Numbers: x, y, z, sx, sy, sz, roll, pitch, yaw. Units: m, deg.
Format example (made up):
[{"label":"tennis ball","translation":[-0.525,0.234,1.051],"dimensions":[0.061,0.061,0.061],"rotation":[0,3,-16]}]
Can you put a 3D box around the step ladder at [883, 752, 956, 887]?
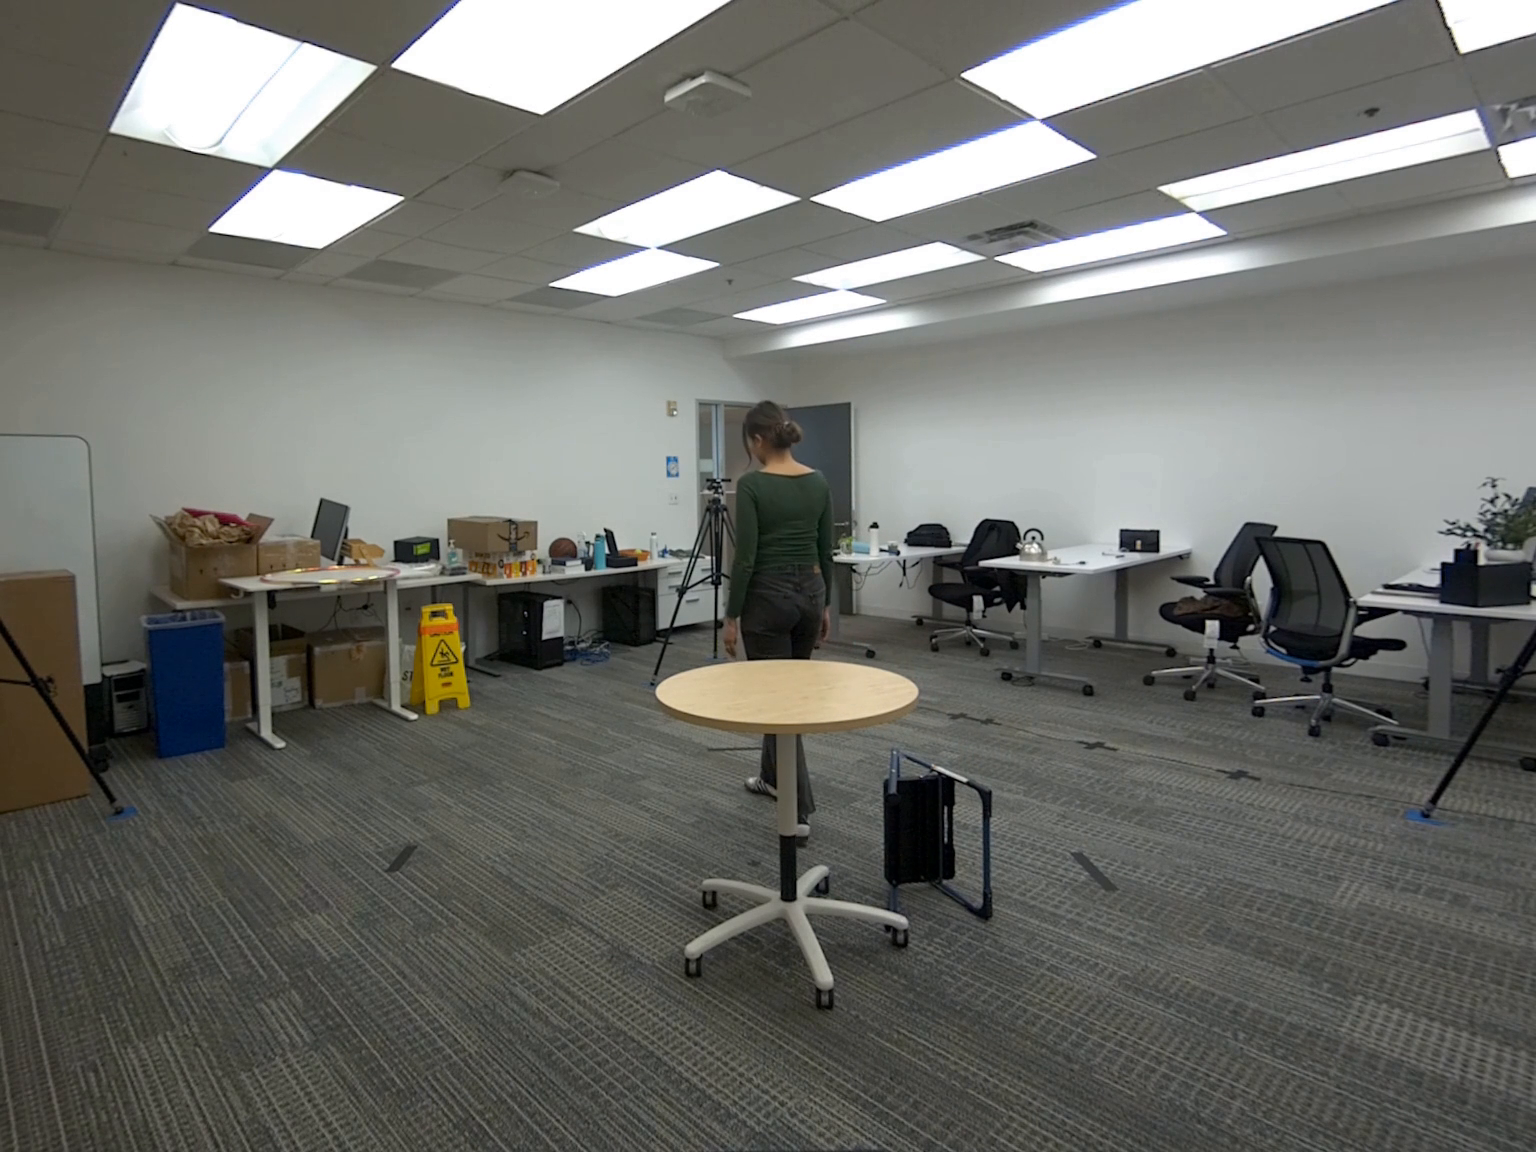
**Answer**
[{"label":"step ladder","translation":[0.470,0.837,2.934],"dimensions":[0.346,0.429,0.614],"rotation":[0,5,-11]}]
